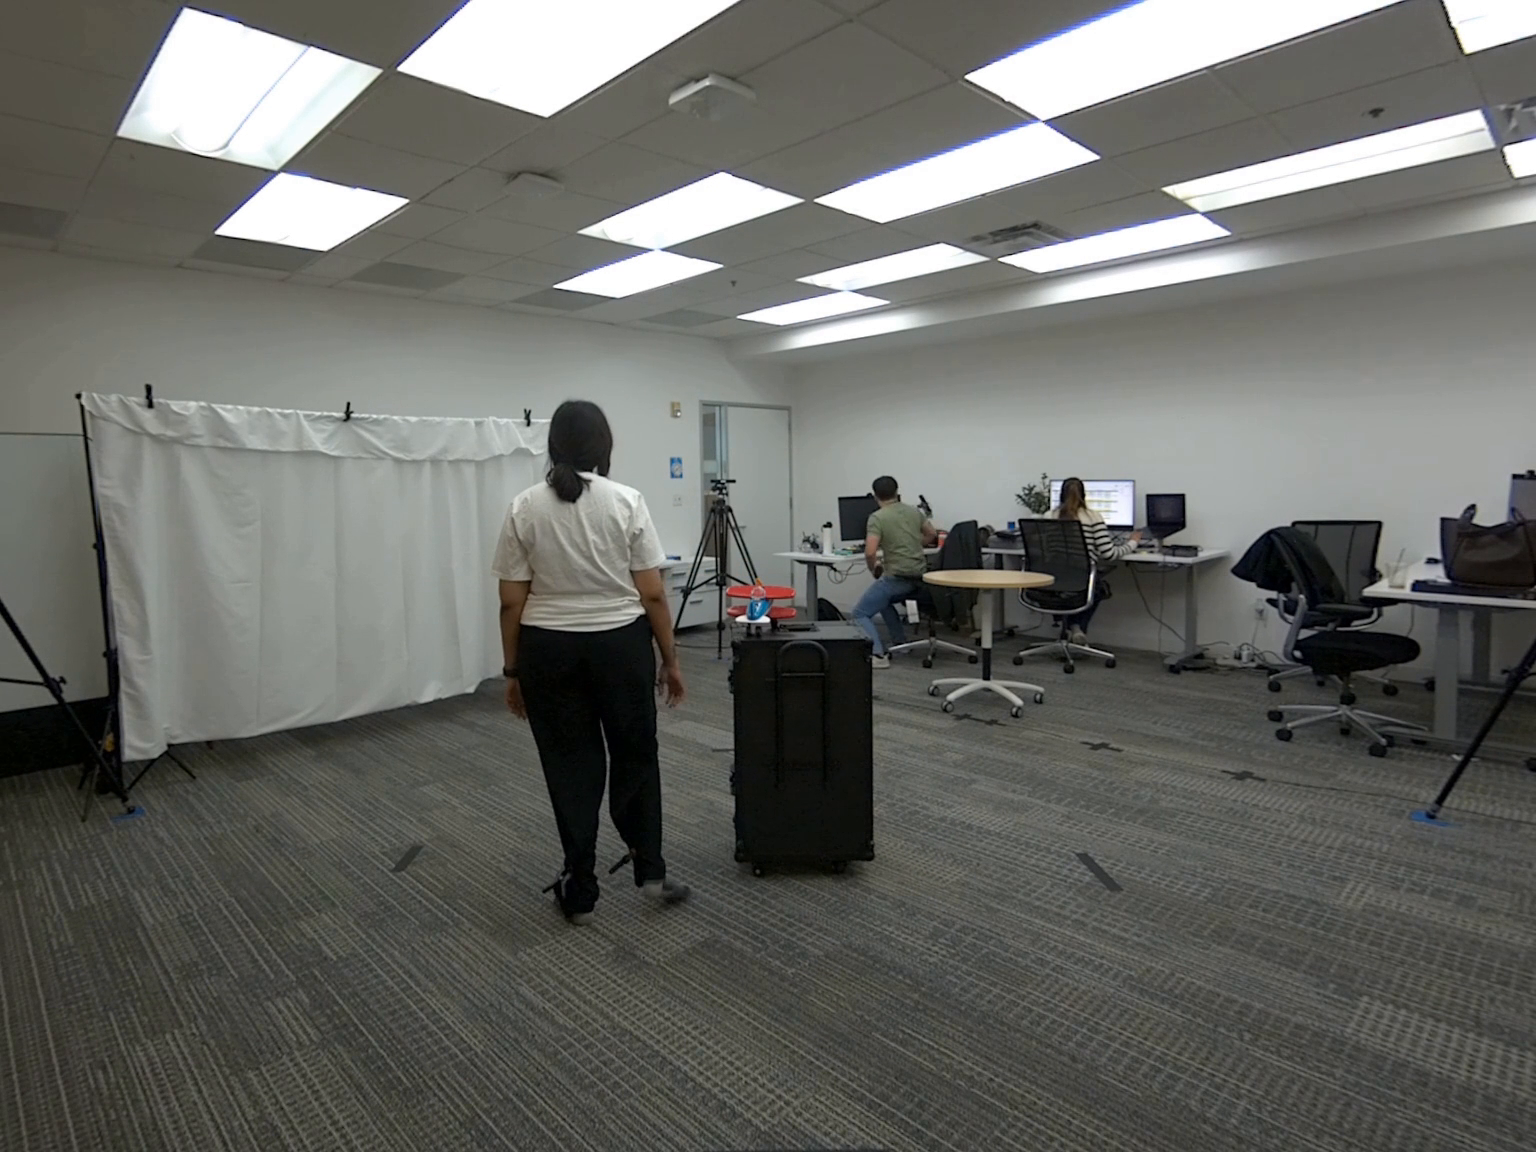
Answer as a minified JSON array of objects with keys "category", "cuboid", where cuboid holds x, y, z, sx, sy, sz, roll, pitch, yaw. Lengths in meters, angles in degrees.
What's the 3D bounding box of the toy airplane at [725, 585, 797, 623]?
[{"category":"toy airplane","cuboid":[-0.020,0.121,3.082,0.248,0.156,0.264,-2,6,-15]}]
